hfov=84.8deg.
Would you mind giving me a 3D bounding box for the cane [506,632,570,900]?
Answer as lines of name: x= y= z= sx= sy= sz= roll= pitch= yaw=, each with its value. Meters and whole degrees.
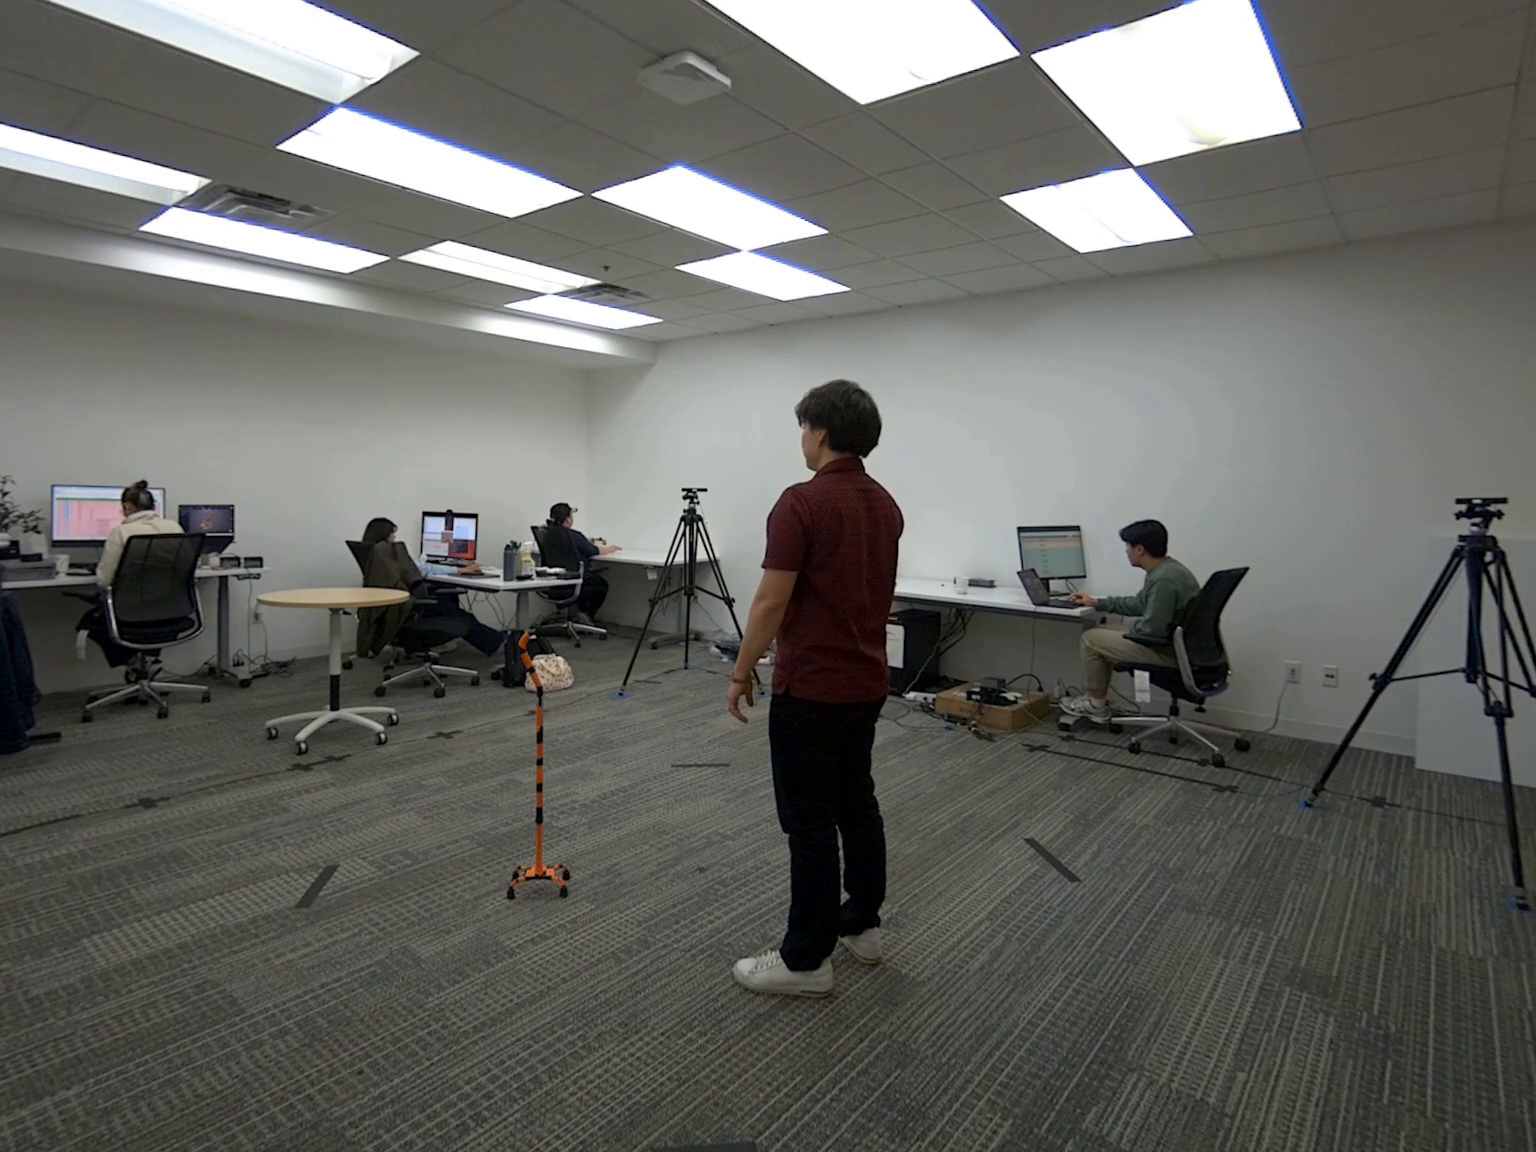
cane: x=-0.797 y=0.630 z=2.914 sx=0.205 sy=0.905 sz=0.153 roll=0 pitch=3 yaw=-8
